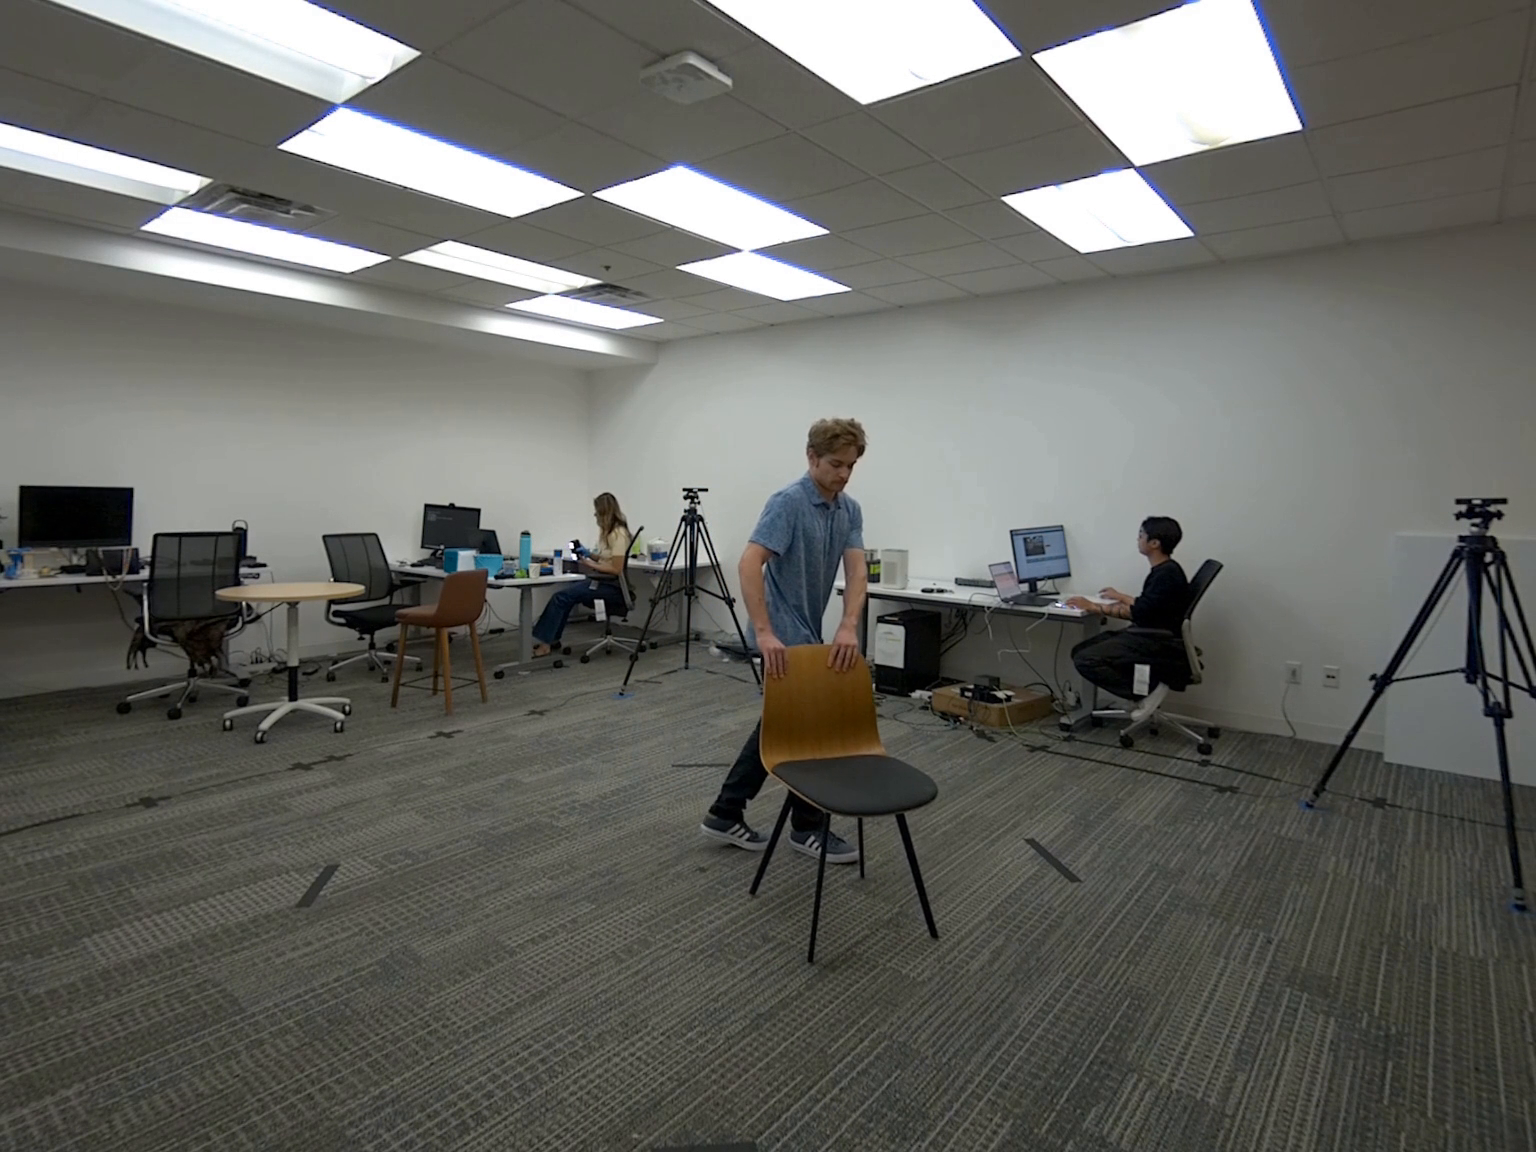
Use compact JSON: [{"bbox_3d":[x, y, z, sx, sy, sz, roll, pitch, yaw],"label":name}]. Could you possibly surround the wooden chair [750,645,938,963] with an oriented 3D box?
[{"bbox_3d":[0.243,0.683,2.754,0.467,0.878,0.534,0,0,-23],"label":"wooden chair"}]
